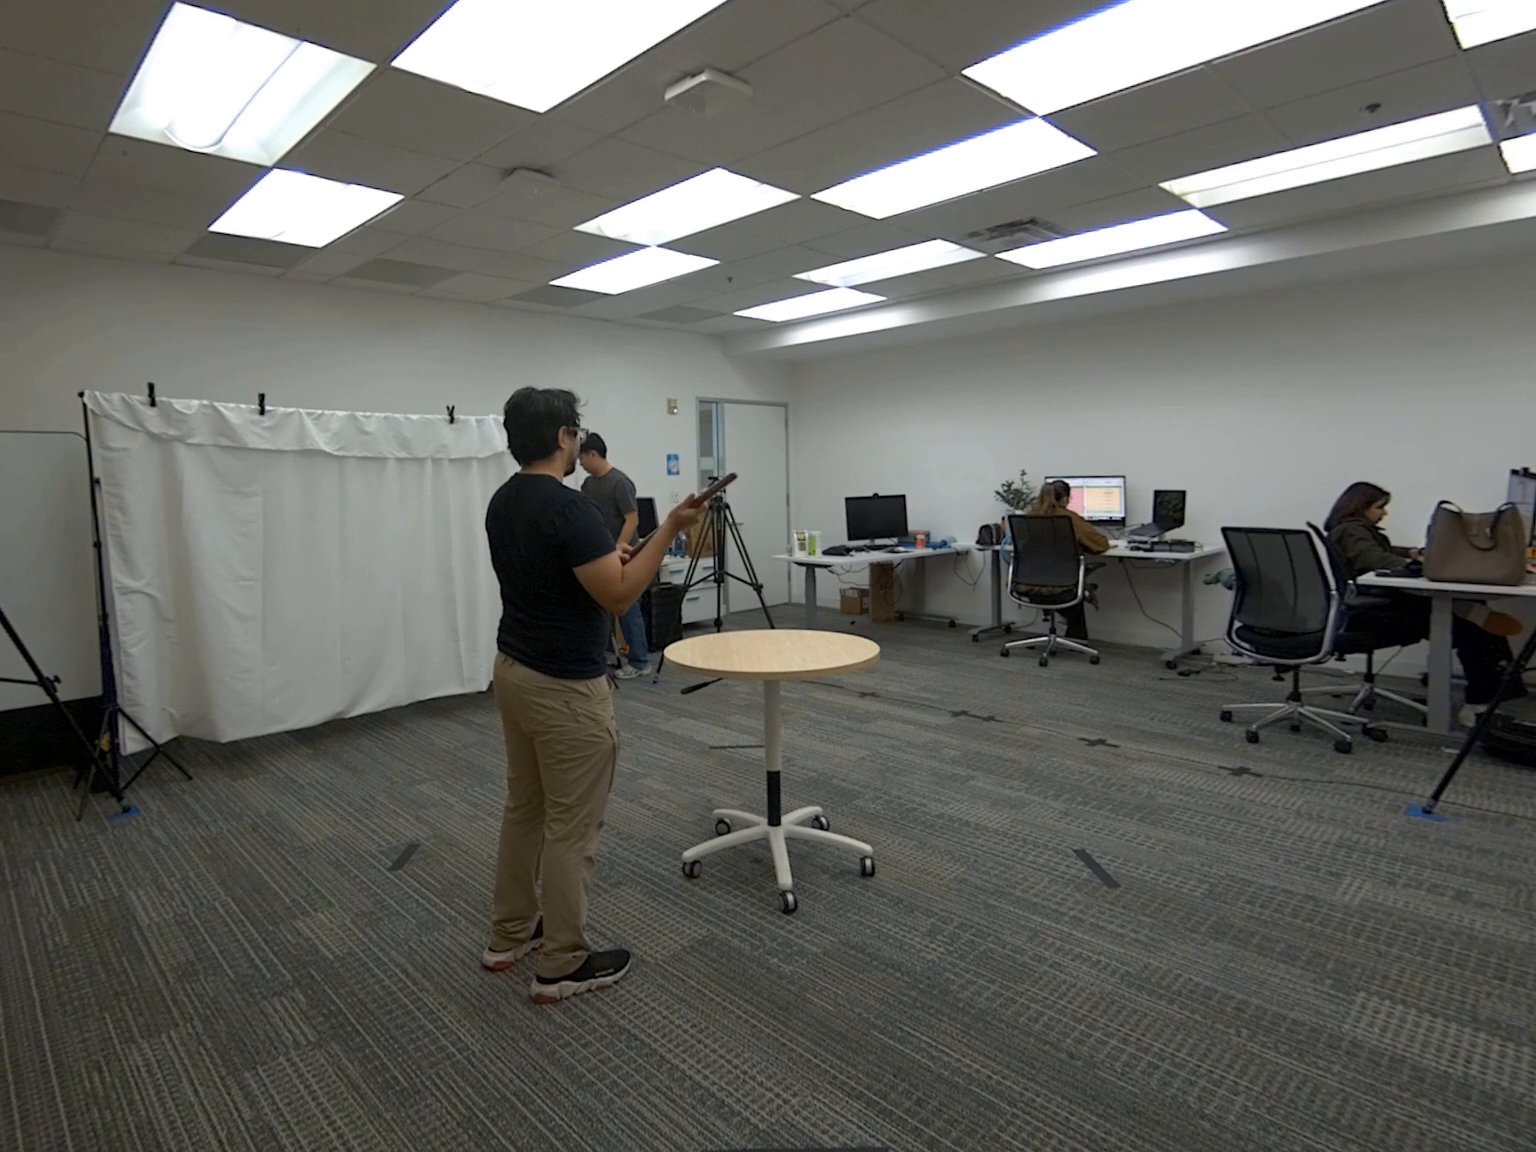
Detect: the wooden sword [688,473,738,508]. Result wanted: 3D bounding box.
[{"bbox_3d":[-0.351,-0.103,2.545,0.024,0.051,1.032,-52,11,-34],"label":"wooden sword"}]
